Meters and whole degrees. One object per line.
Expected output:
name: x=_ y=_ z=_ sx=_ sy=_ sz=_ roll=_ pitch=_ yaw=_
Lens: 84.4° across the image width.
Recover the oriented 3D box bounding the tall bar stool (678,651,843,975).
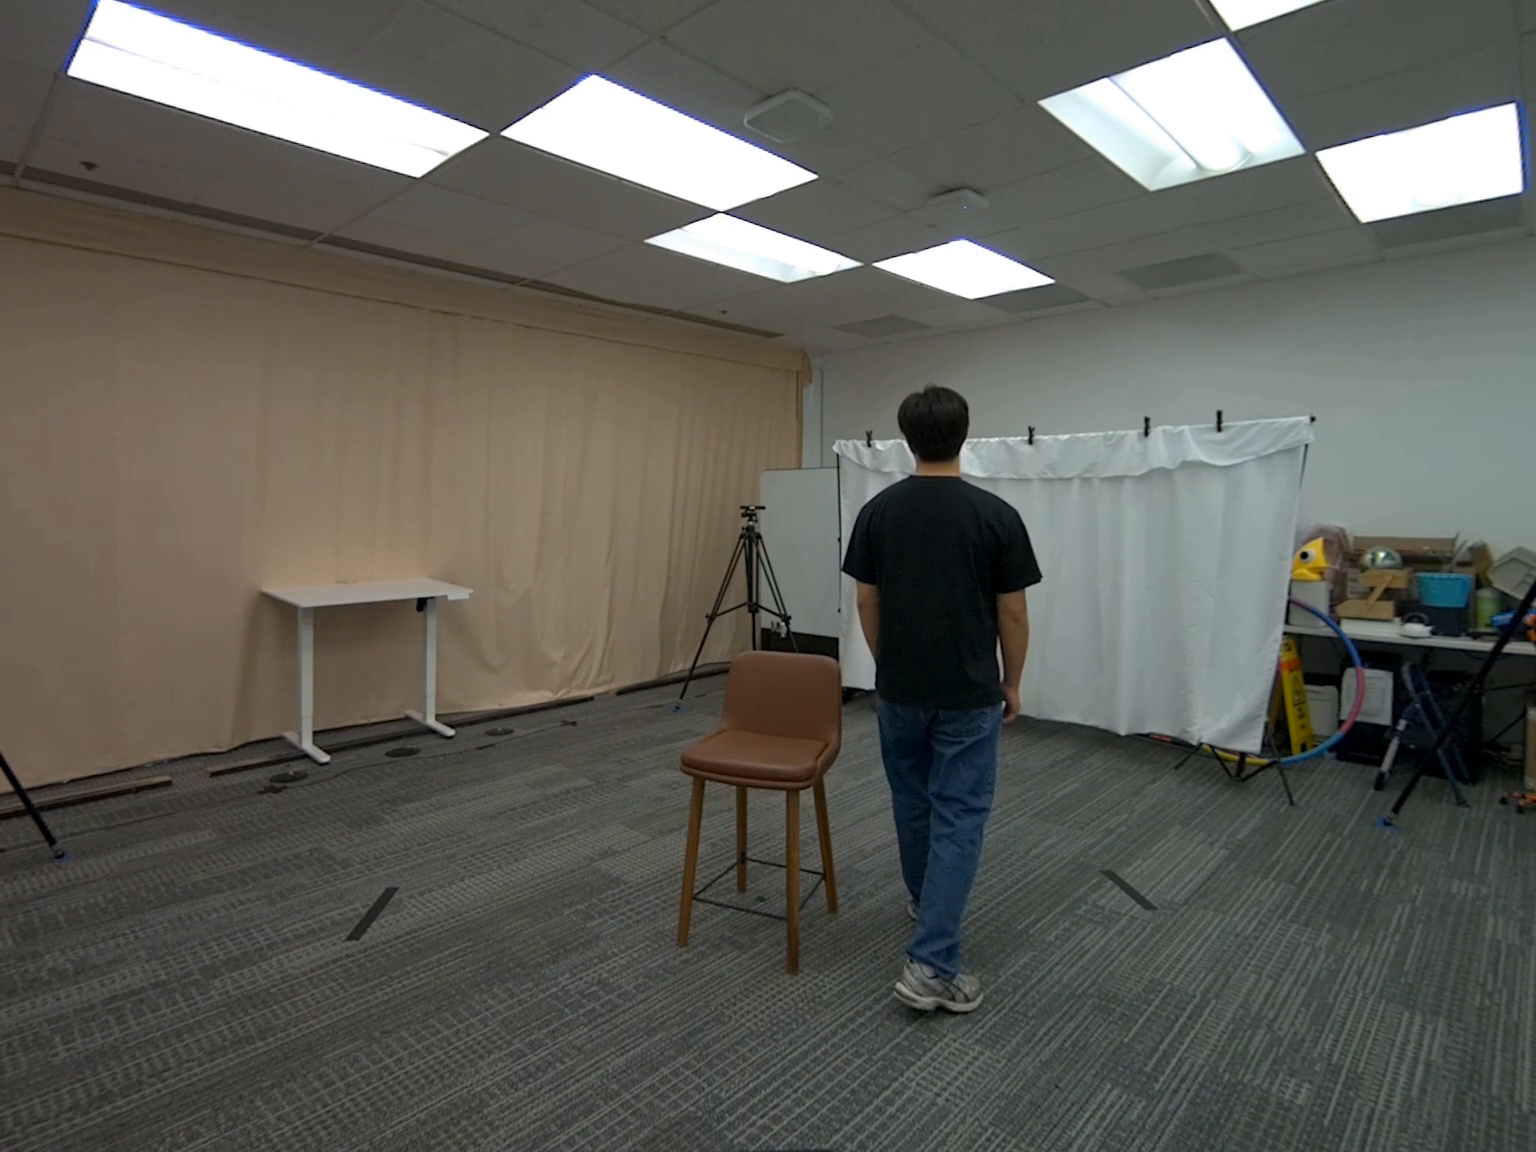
tall bar stool: x=-0.009 y=0.731 z=2.763 sx=0.469 sy=0.889 sz=0.456 roll=2 pitch=2 yaw=26
